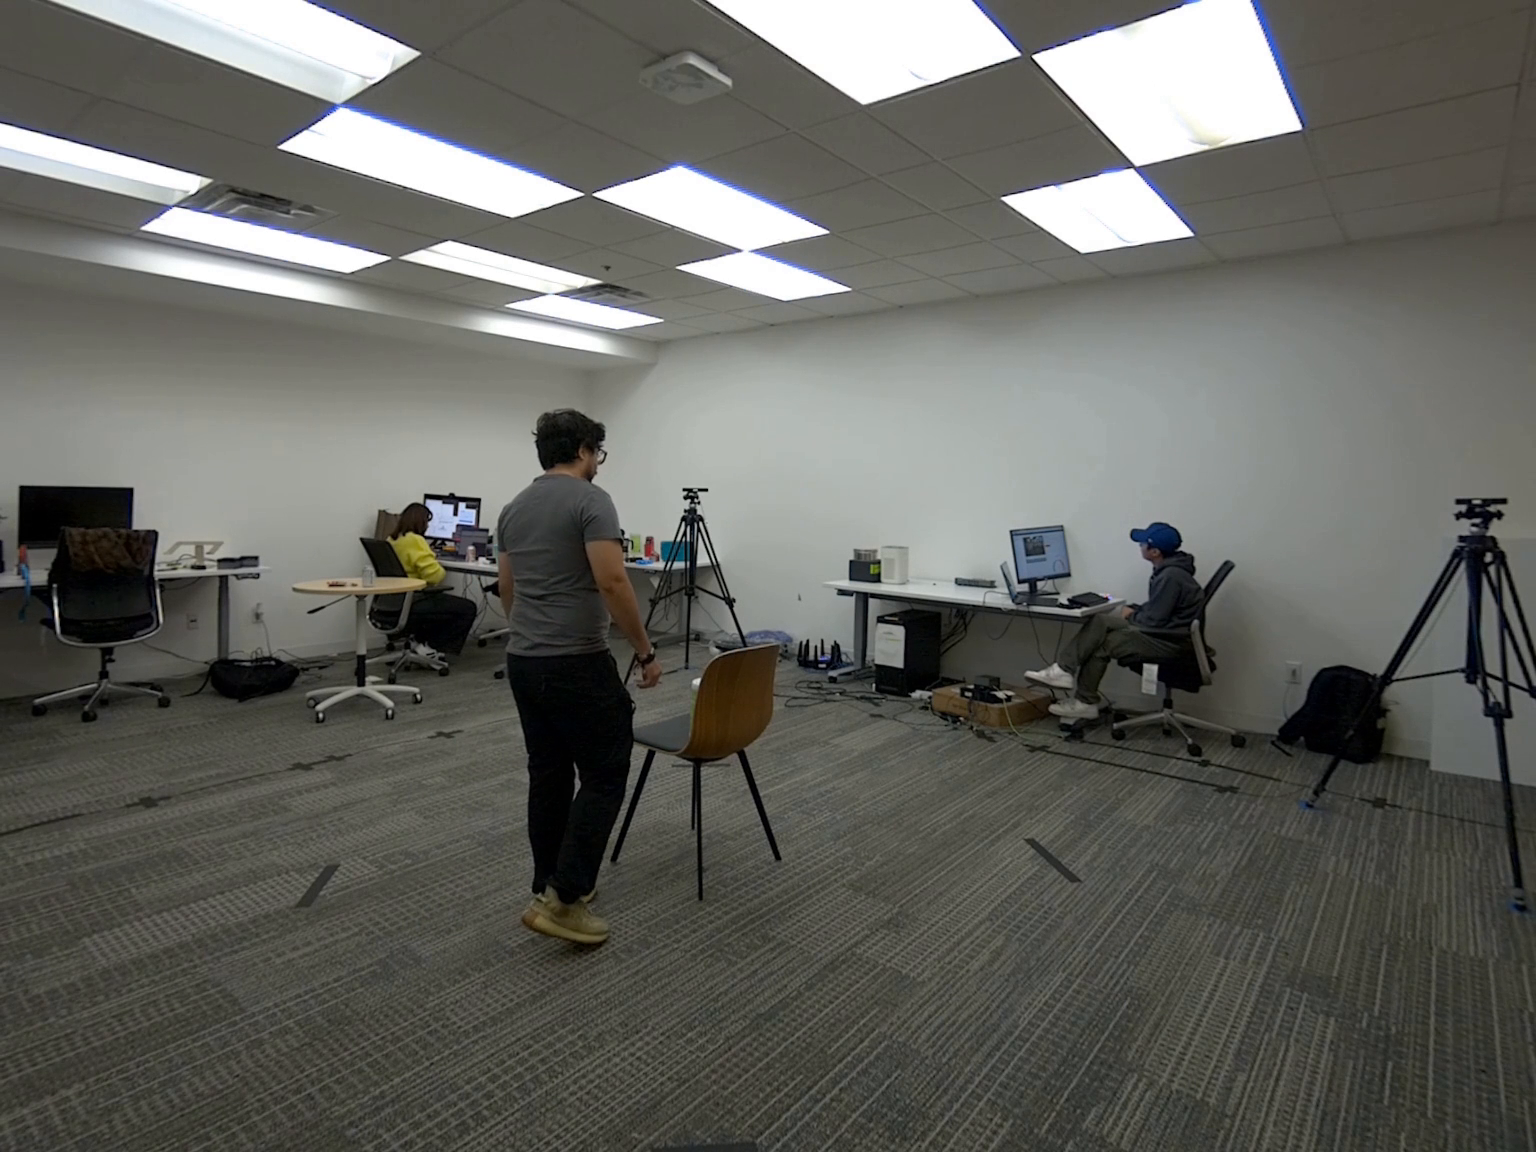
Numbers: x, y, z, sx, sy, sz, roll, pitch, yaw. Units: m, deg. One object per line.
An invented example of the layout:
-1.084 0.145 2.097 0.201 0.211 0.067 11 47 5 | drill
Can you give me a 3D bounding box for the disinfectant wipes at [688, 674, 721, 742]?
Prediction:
-0.237 0.488 3.126 0.118 0.216 0.118 1 4 -2 | disinfectant wipes
